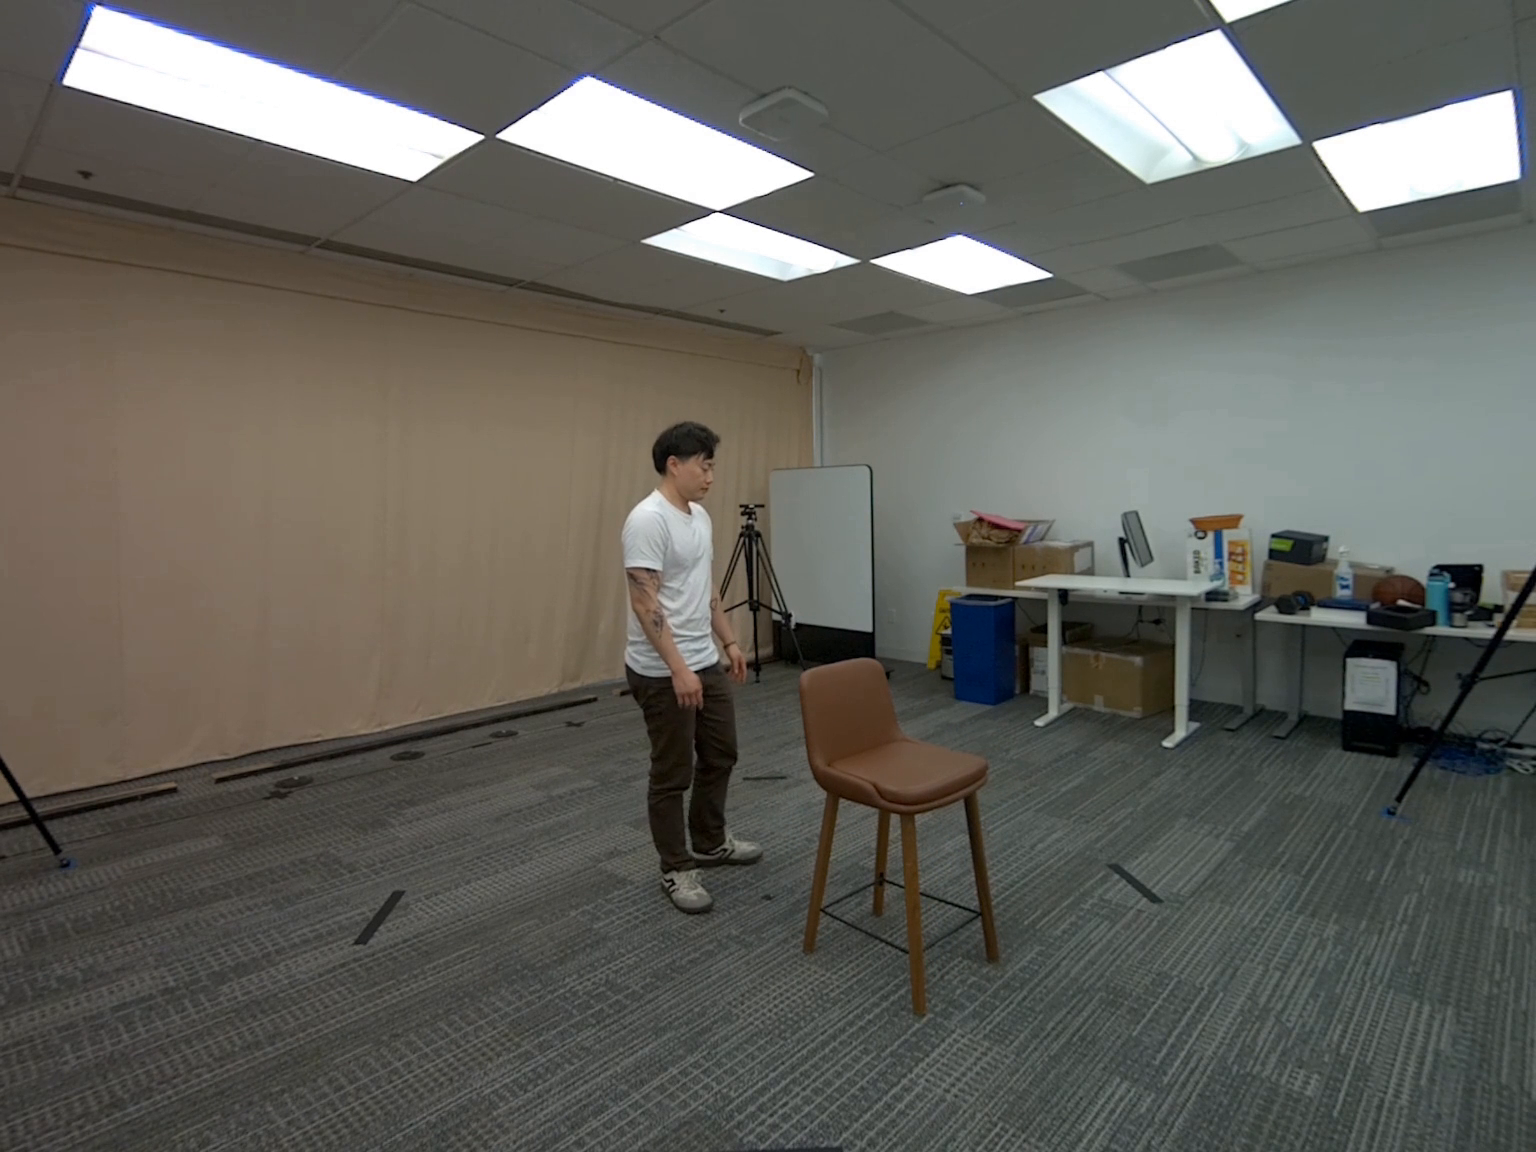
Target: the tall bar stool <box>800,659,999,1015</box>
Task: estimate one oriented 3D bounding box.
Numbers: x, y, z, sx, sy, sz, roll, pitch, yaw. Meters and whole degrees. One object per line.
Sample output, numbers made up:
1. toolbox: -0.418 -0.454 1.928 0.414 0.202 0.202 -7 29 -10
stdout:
1. tall bar stool: 0.392 0.737 2.557 0.442 0.888 0.483 -4 3 -43
